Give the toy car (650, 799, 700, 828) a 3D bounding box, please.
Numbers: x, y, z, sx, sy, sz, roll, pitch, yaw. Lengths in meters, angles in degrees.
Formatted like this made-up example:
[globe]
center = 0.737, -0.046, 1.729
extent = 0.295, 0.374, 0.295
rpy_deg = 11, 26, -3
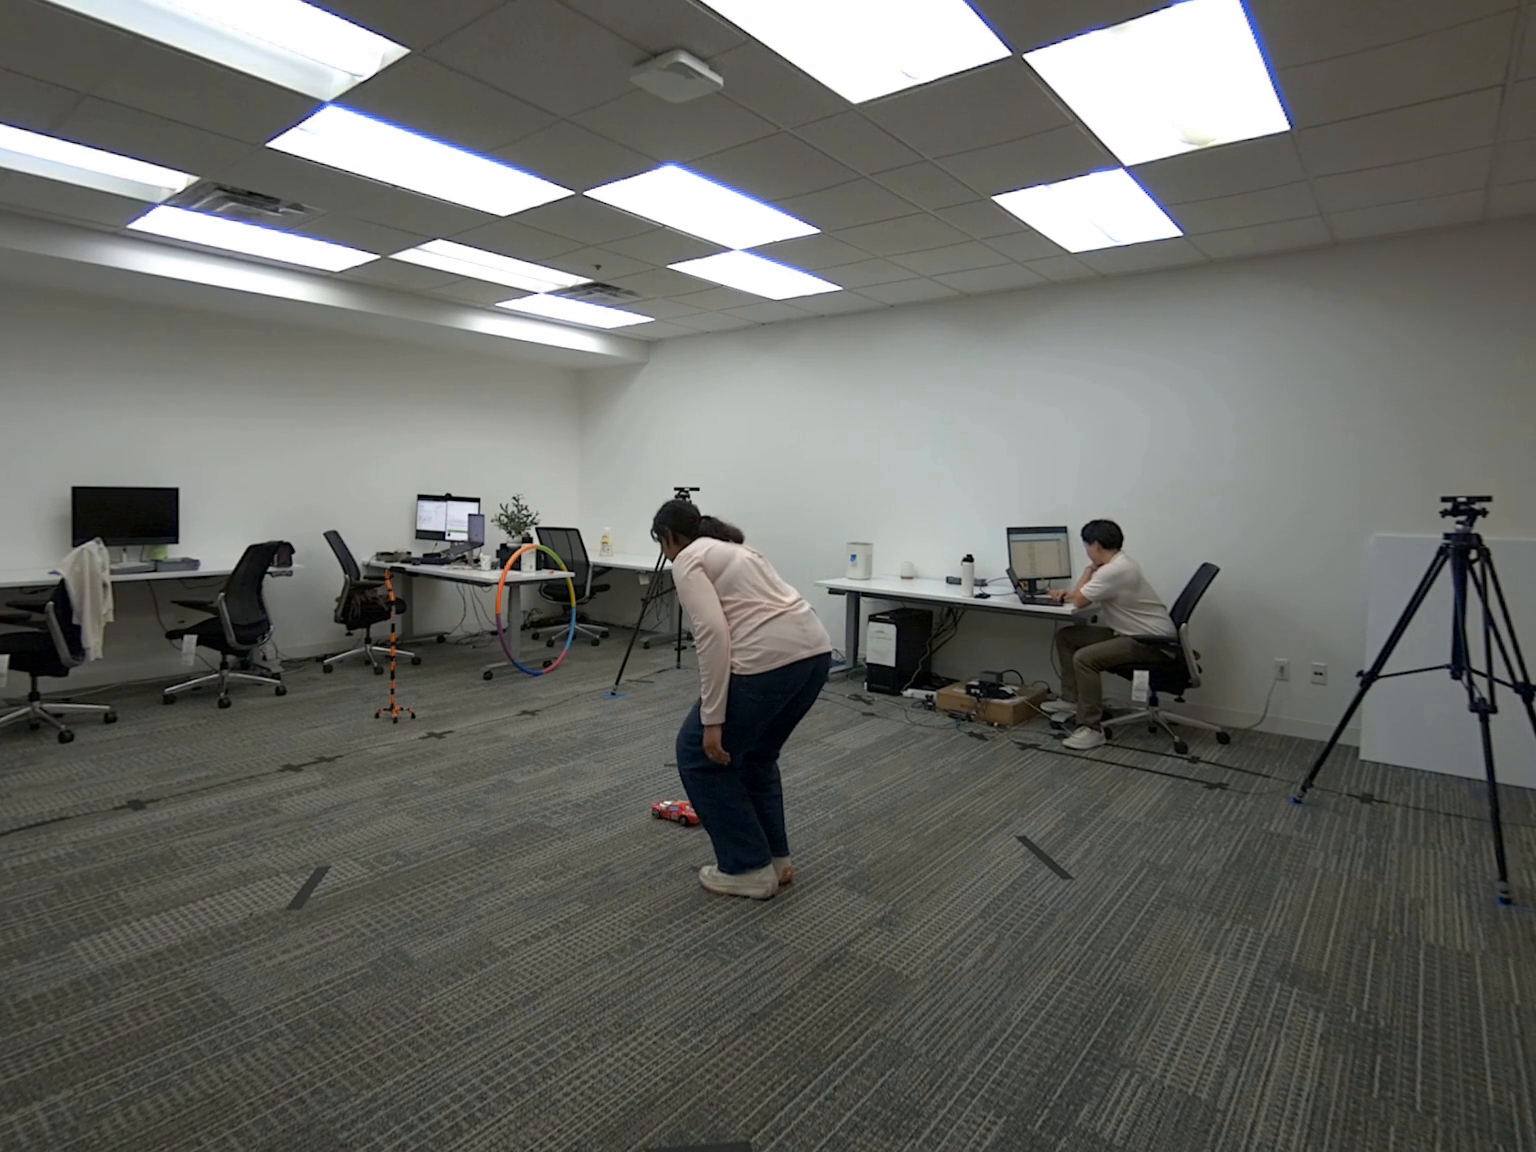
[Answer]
[toy car]
center = -0.374, 0.986, 3.568
extent = 0.261, 0.083, 0.127
rpy_deg = -7, 0, 31
